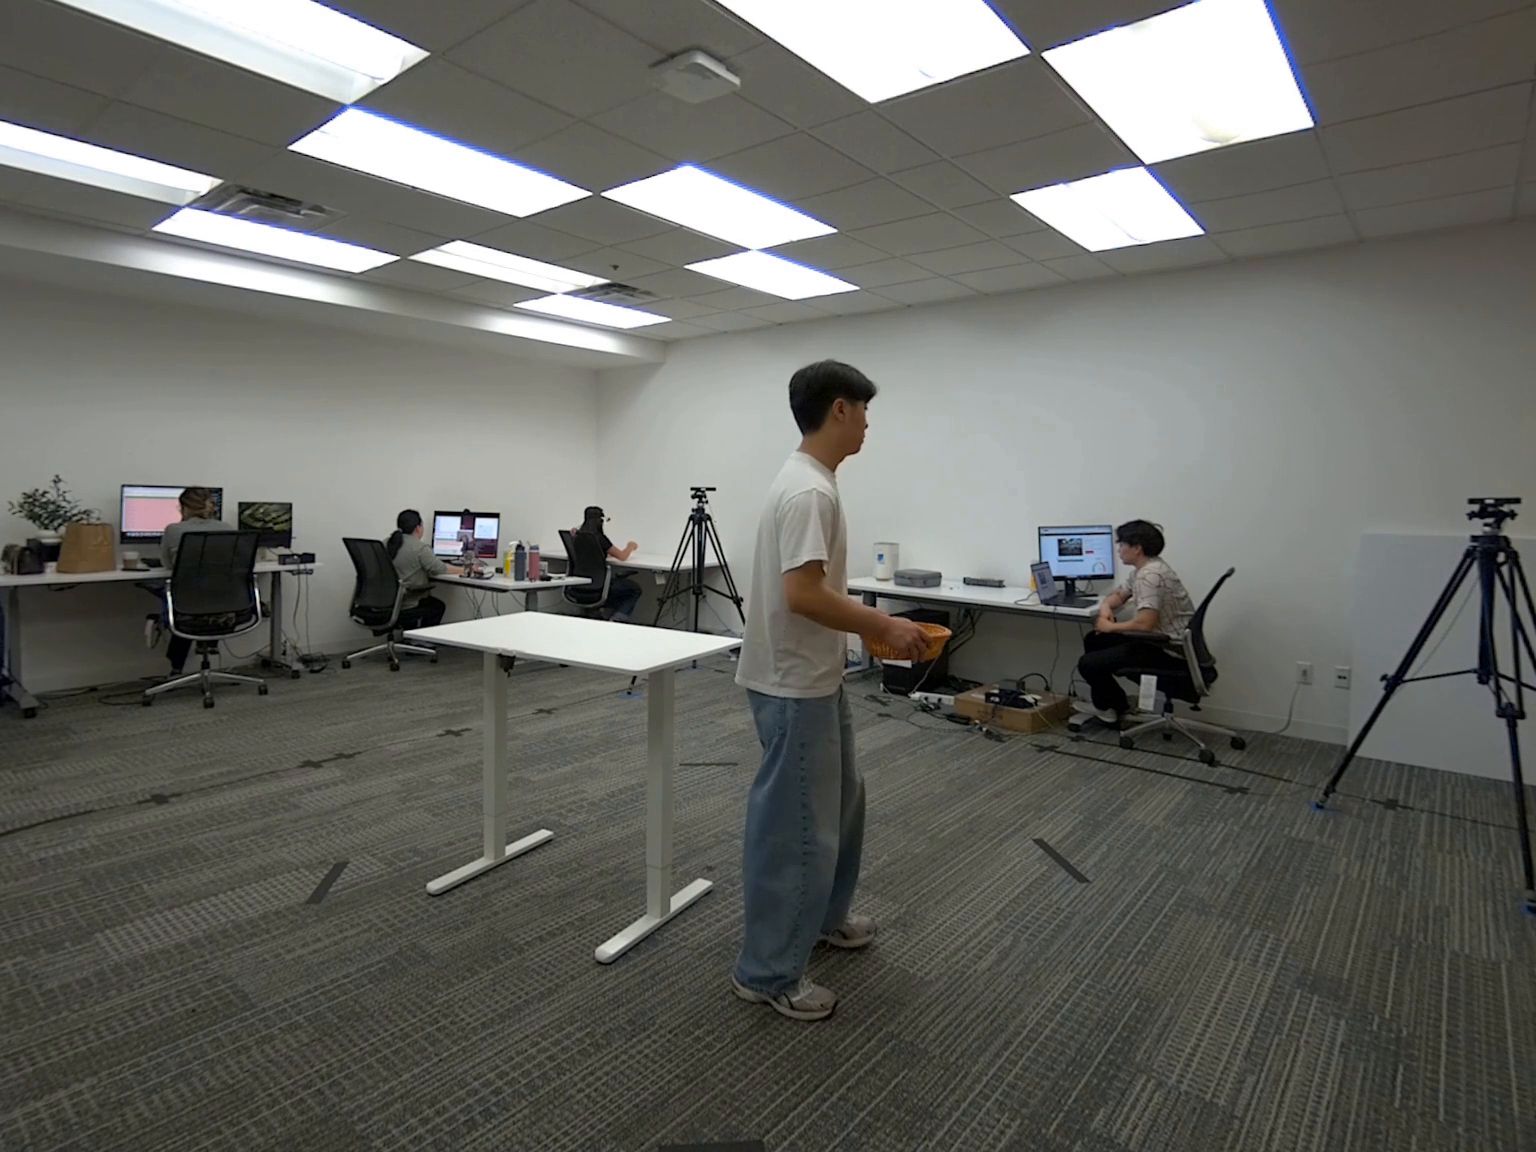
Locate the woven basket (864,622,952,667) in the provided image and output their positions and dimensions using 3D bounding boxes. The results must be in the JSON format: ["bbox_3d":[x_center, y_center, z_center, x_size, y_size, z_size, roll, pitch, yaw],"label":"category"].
[{"bbox_3d":[0.350,0.183,2.349,0.254,0.073,0.349,0,3,3],"label":"woven basket"}]
